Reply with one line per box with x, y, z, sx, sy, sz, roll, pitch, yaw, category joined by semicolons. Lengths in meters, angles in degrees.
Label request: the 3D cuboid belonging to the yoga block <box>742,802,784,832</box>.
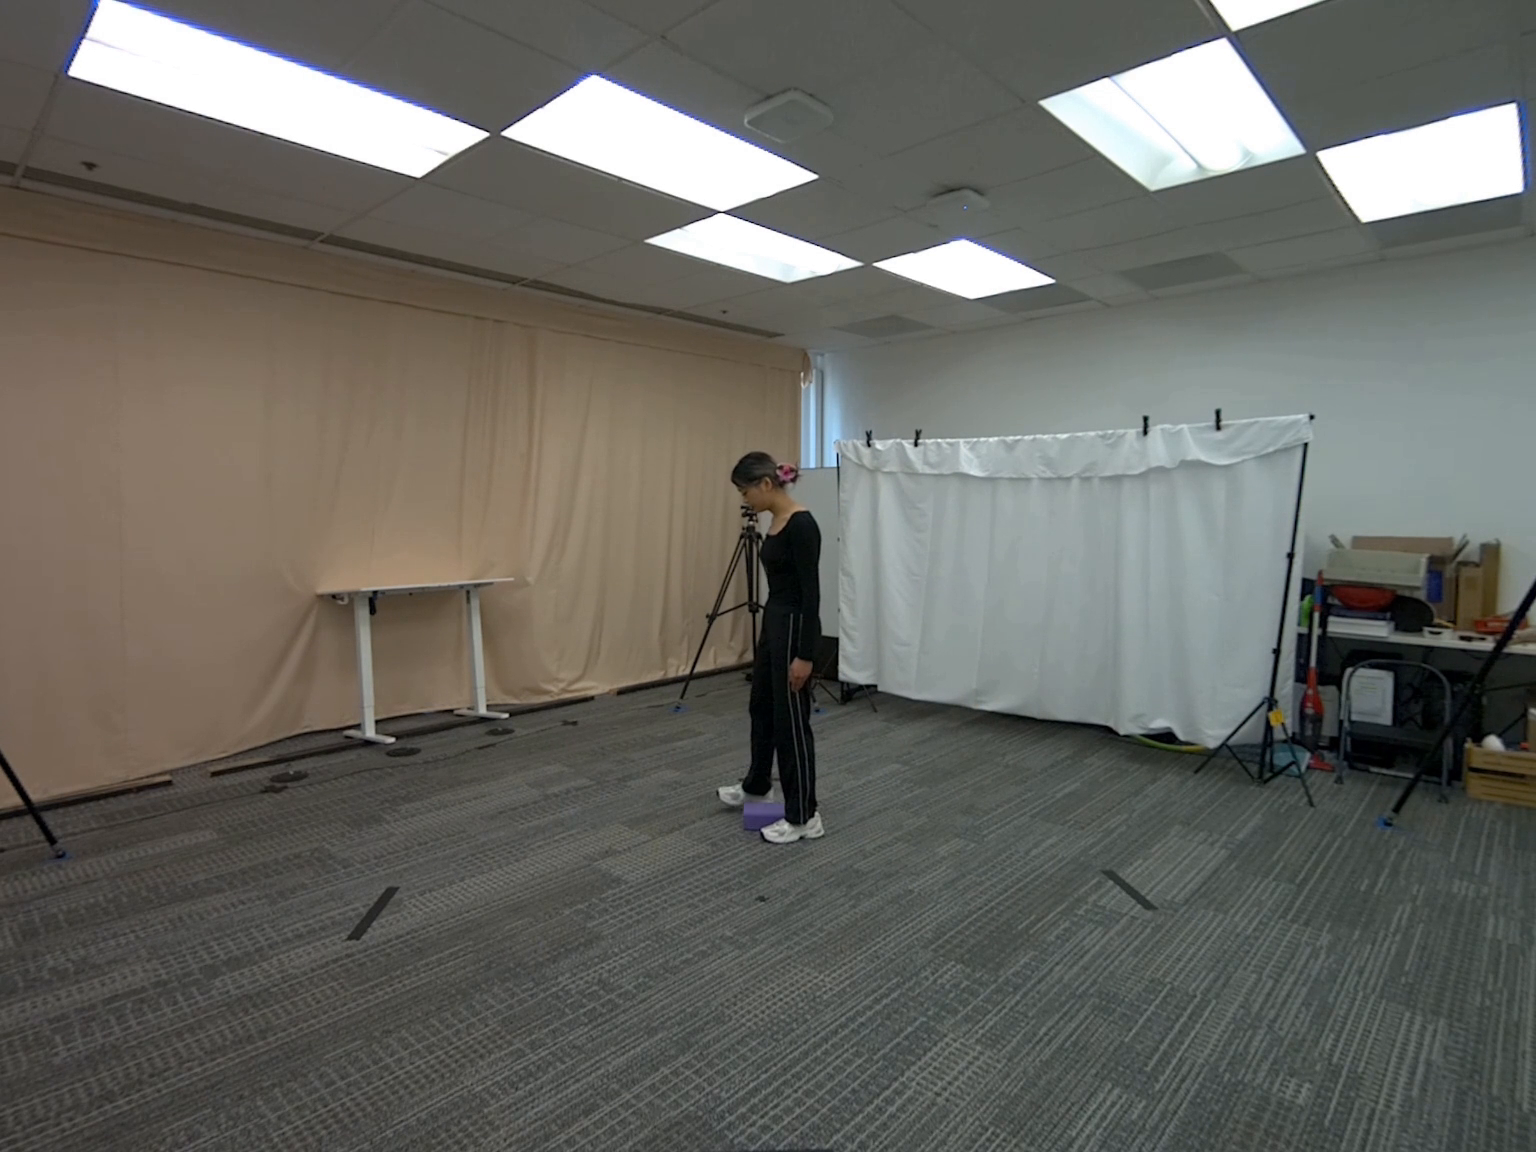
0.009;1.047;3.671;0.230;0.076;0.149;1;4;2;yoga block
